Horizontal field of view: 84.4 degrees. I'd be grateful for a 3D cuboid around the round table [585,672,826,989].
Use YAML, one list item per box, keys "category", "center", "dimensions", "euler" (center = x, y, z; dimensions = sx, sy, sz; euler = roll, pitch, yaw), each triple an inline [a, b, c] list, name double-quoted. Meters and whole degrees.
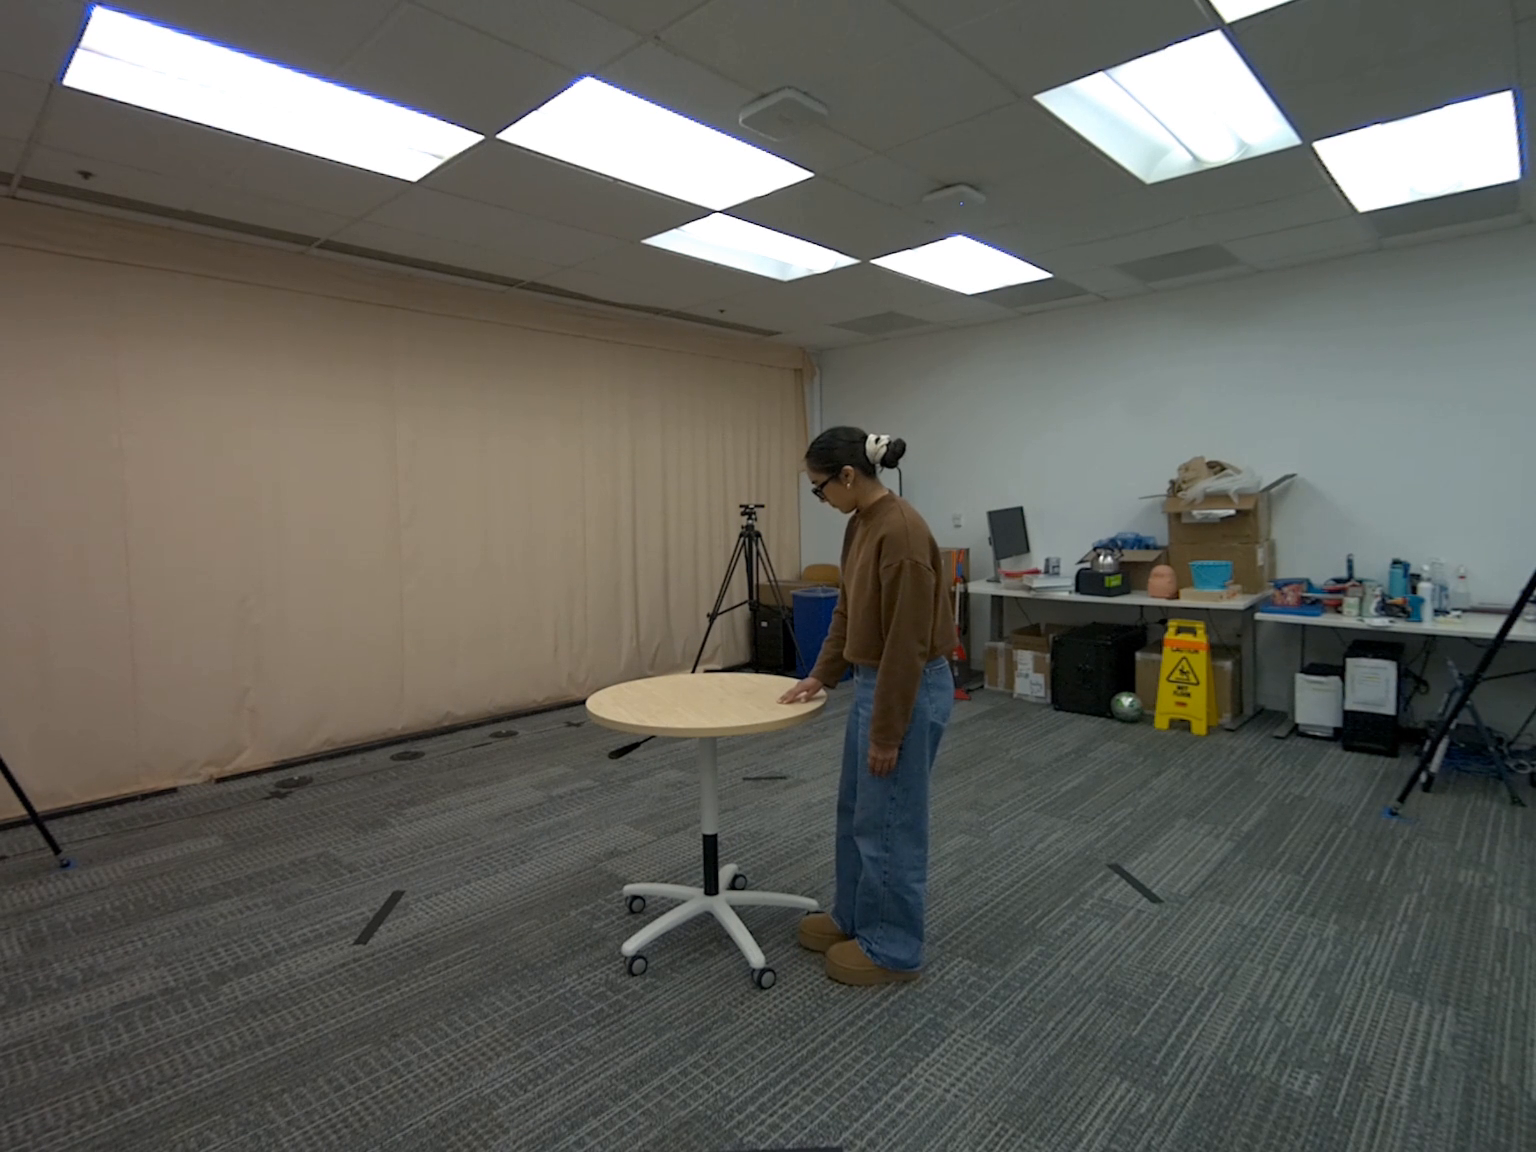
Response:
- category: "round table"
  center: [-0.185, 0.780, 2.710]
  dimensions: [0.763, 0.792, 0.767]
  euler: [-1, 4, -2]
